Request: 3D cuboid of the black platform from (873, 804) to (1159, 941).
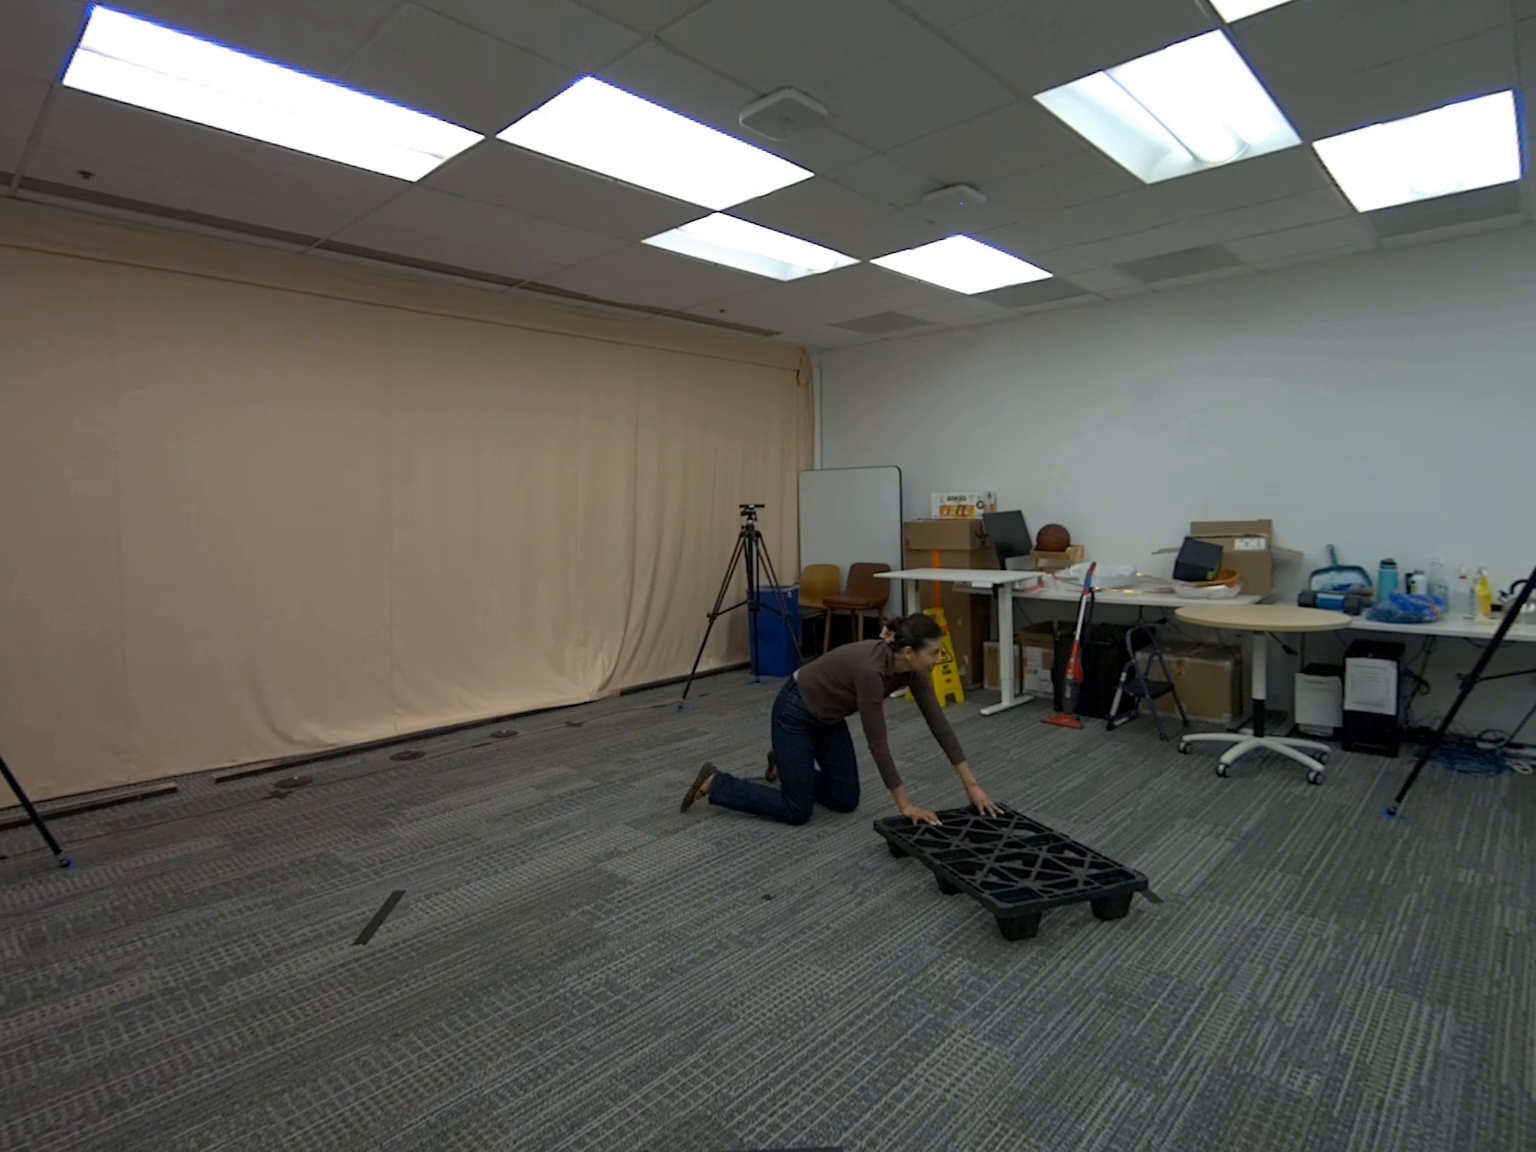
[{"bbox_3d":[0.845,1.047,3.071,0.593,0.143,0.824,-2,5,-21],"label":"black platform"}]
